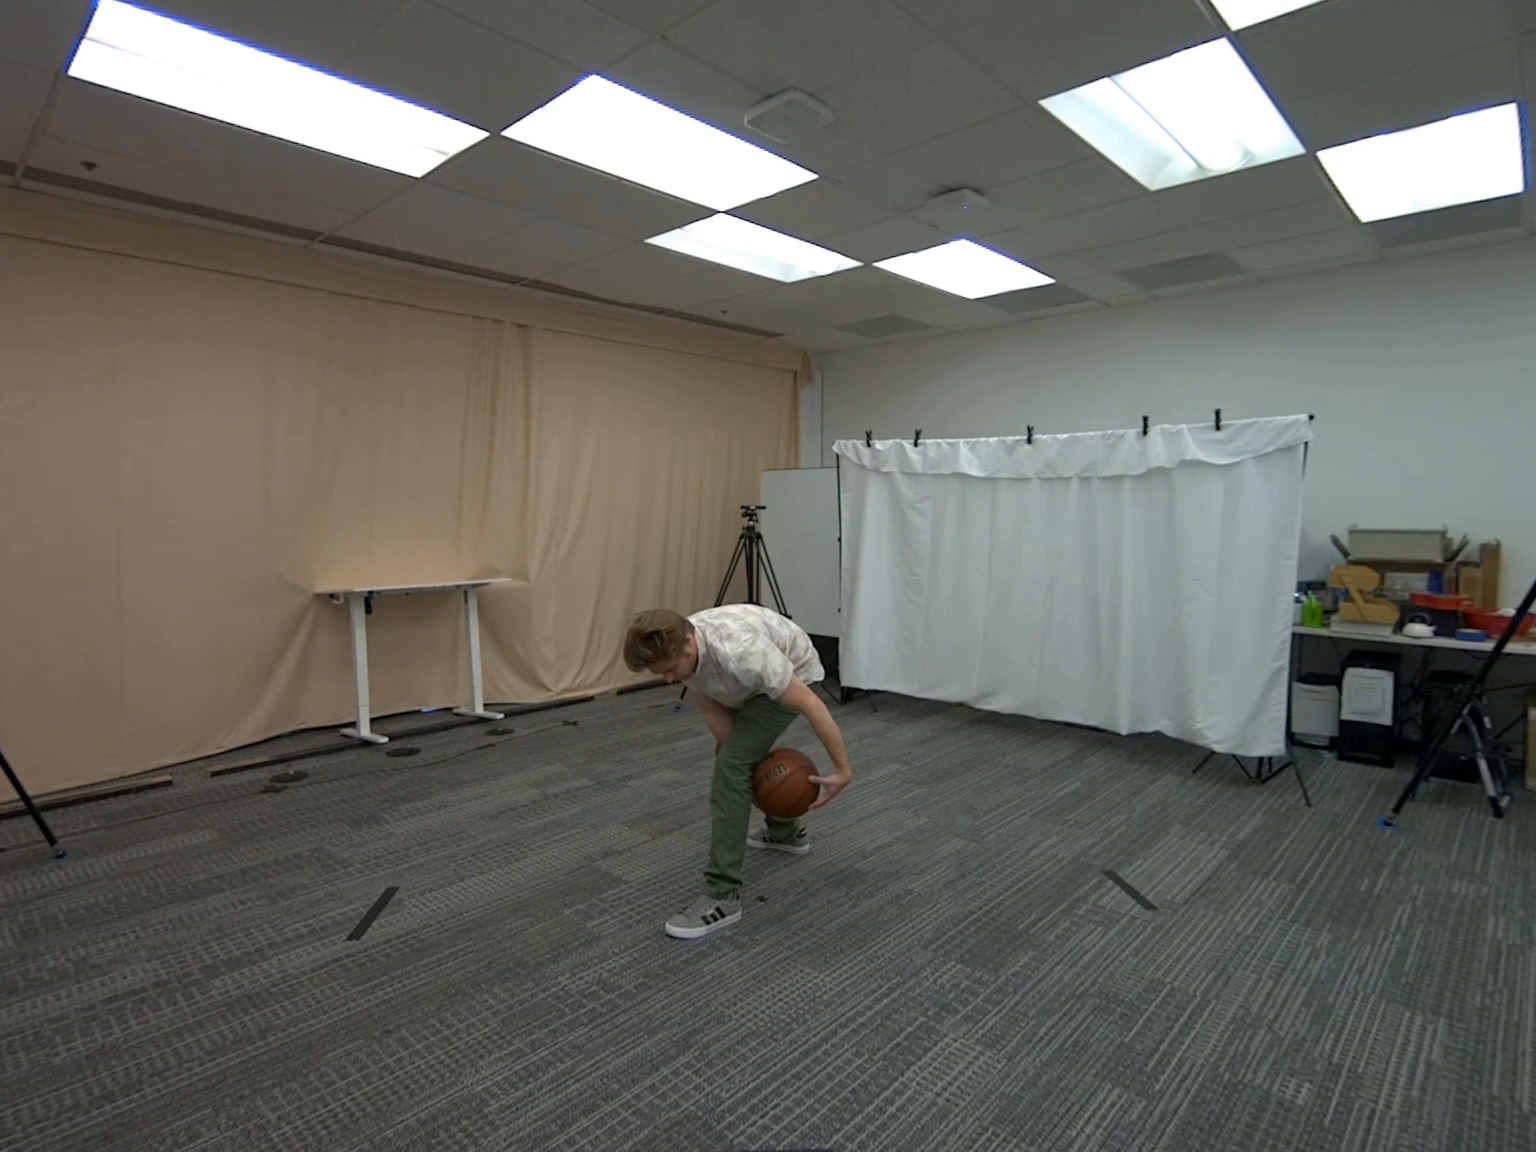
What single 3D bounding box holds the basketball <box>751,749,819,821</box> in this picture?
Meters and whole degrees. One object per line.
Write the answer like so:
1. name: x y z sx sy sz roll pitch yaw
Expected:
1. basketball: 0.060 0.726 2.949 0.236 0.235 0.237 0 4 -2
